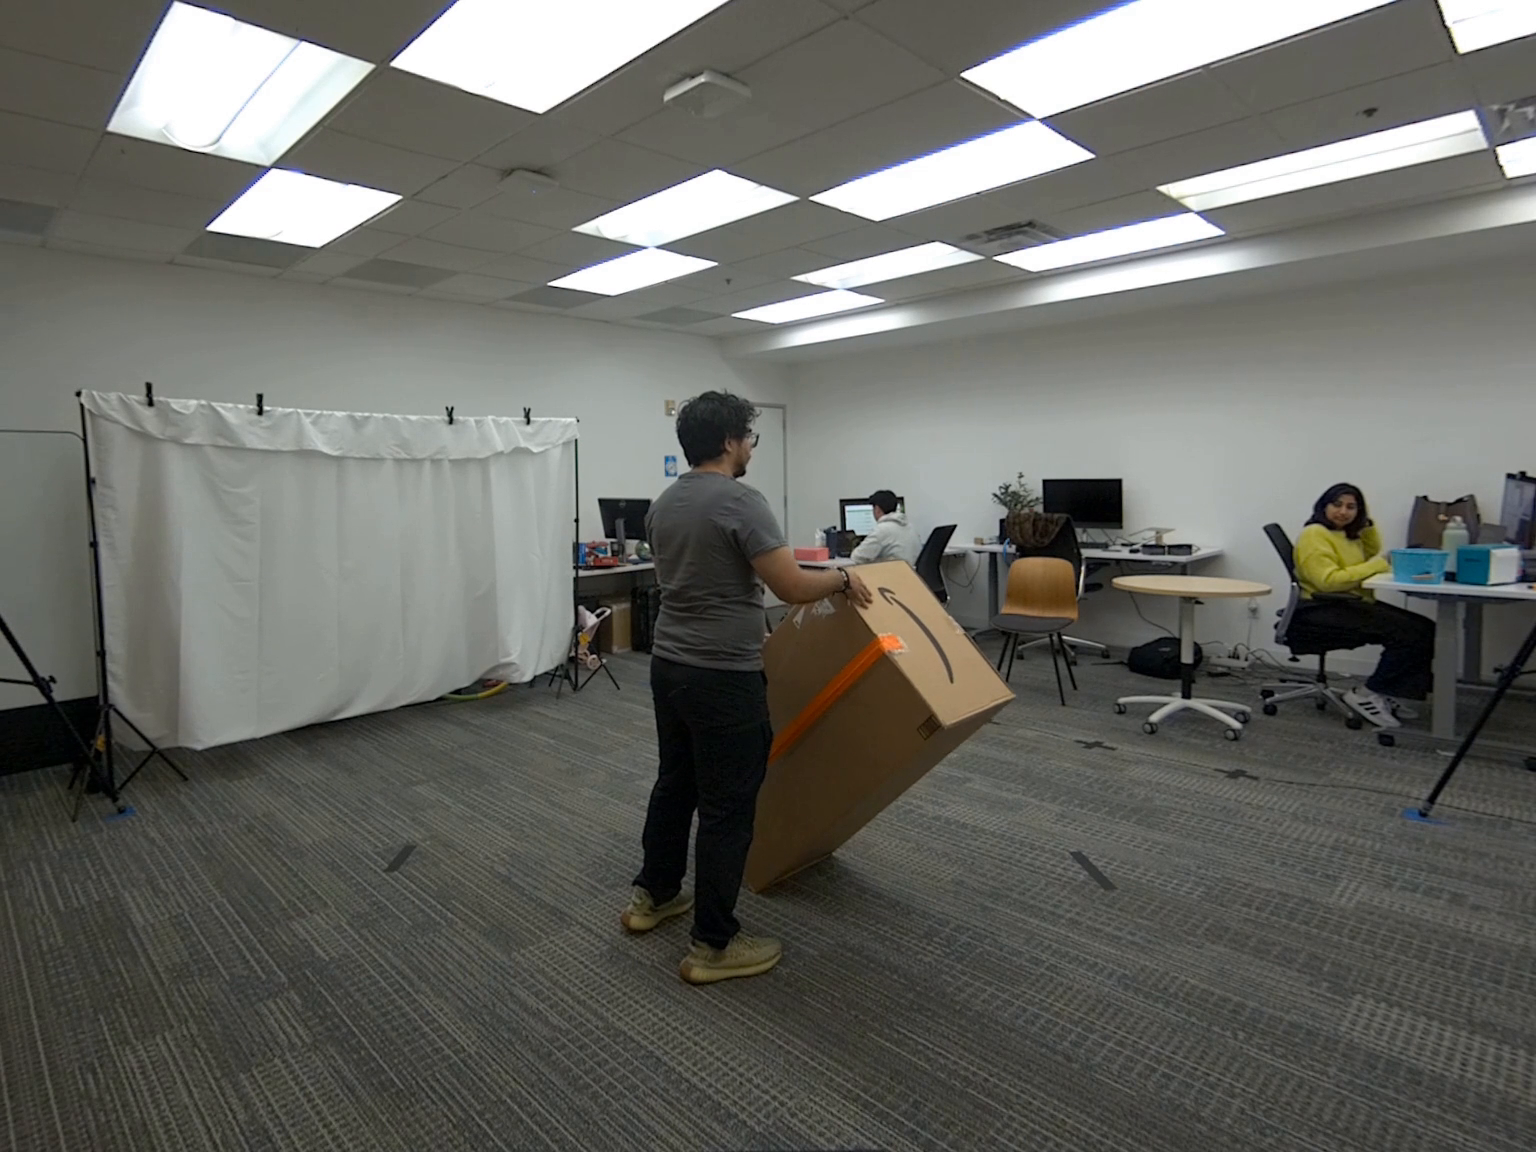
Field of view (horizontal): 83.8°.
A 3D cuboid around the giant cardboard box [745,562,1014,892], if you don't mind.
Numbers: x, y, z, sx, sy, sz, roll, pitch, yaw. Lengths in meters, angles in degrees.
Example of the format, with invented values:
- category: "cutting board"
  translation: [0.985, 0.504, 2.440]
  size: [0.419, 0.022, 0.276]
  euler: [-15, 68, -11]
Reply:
- category: "giant cardboard box"
  translation: [0.206, 0.509, 2.876]
  size: [0.415, 0.595, 1.021]
  euler: [-6, -38, -46]
